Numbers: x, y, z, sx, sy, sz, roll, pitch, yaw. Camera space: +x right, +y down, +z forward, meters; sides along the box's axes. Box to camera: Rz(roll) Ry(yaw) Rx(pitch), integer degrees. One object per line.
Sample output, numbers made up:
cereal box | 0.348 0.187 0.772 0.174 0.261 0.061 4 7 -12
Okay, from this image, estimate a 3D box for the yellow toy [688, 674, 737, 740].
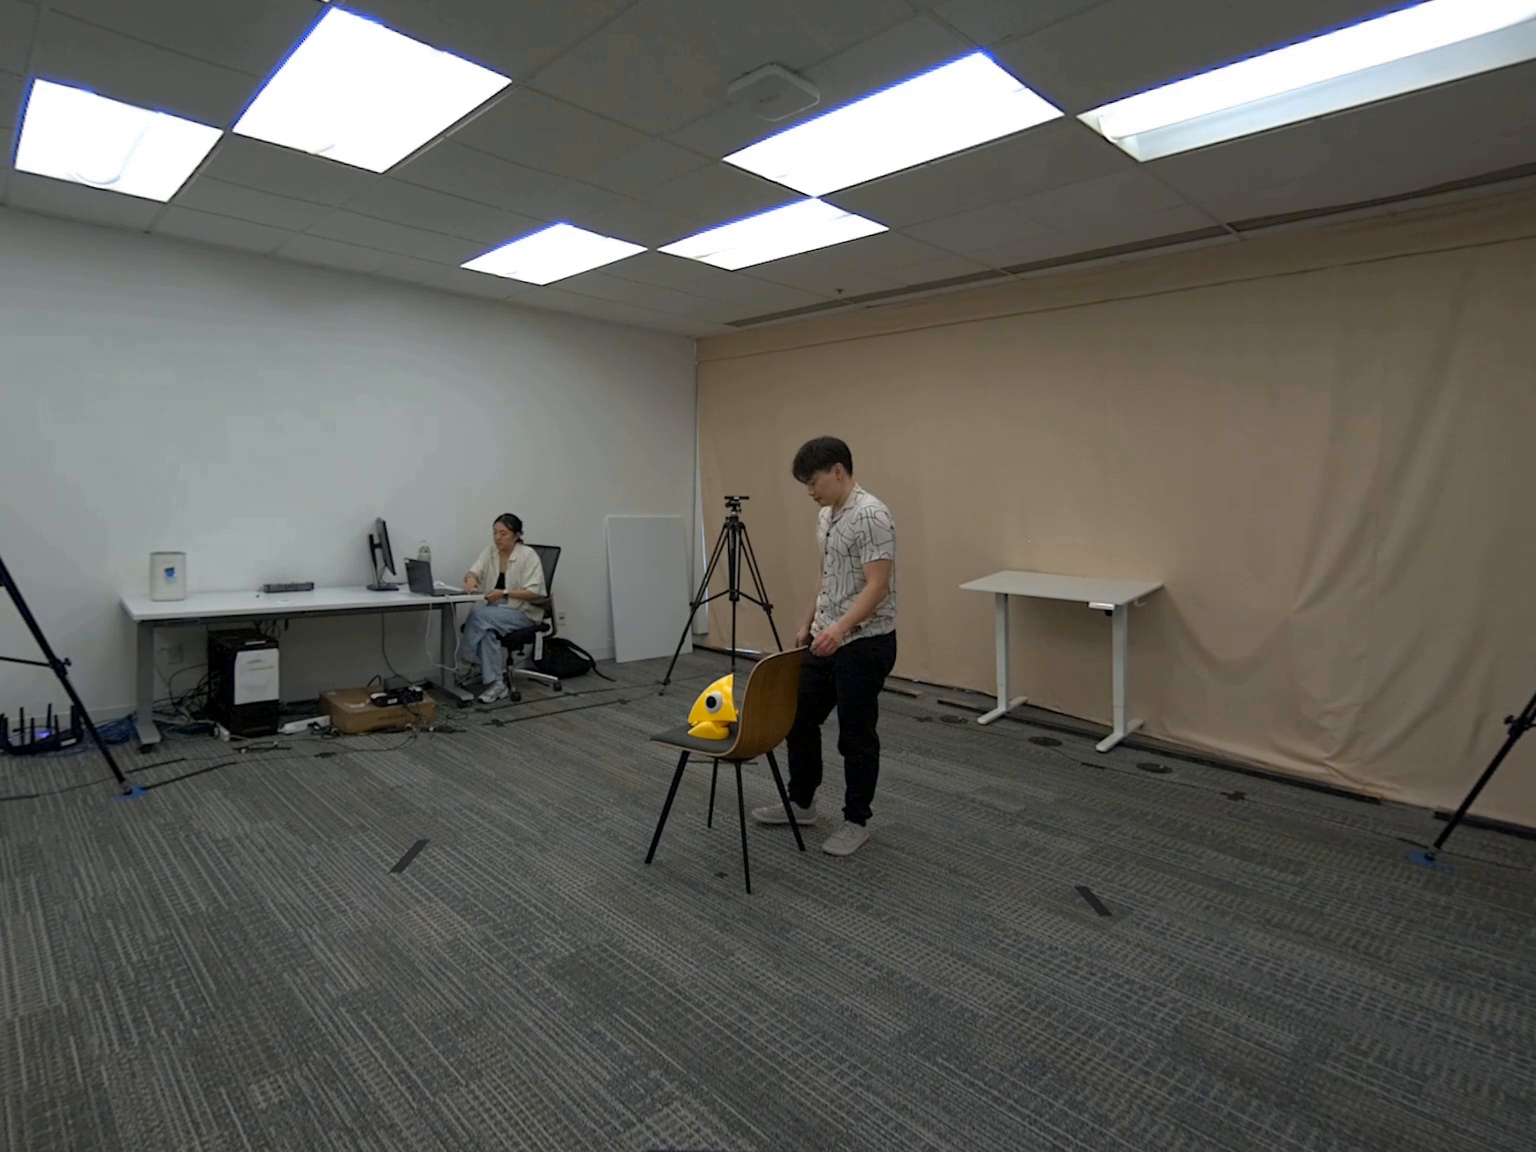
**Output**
yellow toy | -0.212 0.490 3.278 0.193 0.230 0.206 6 7 -2
